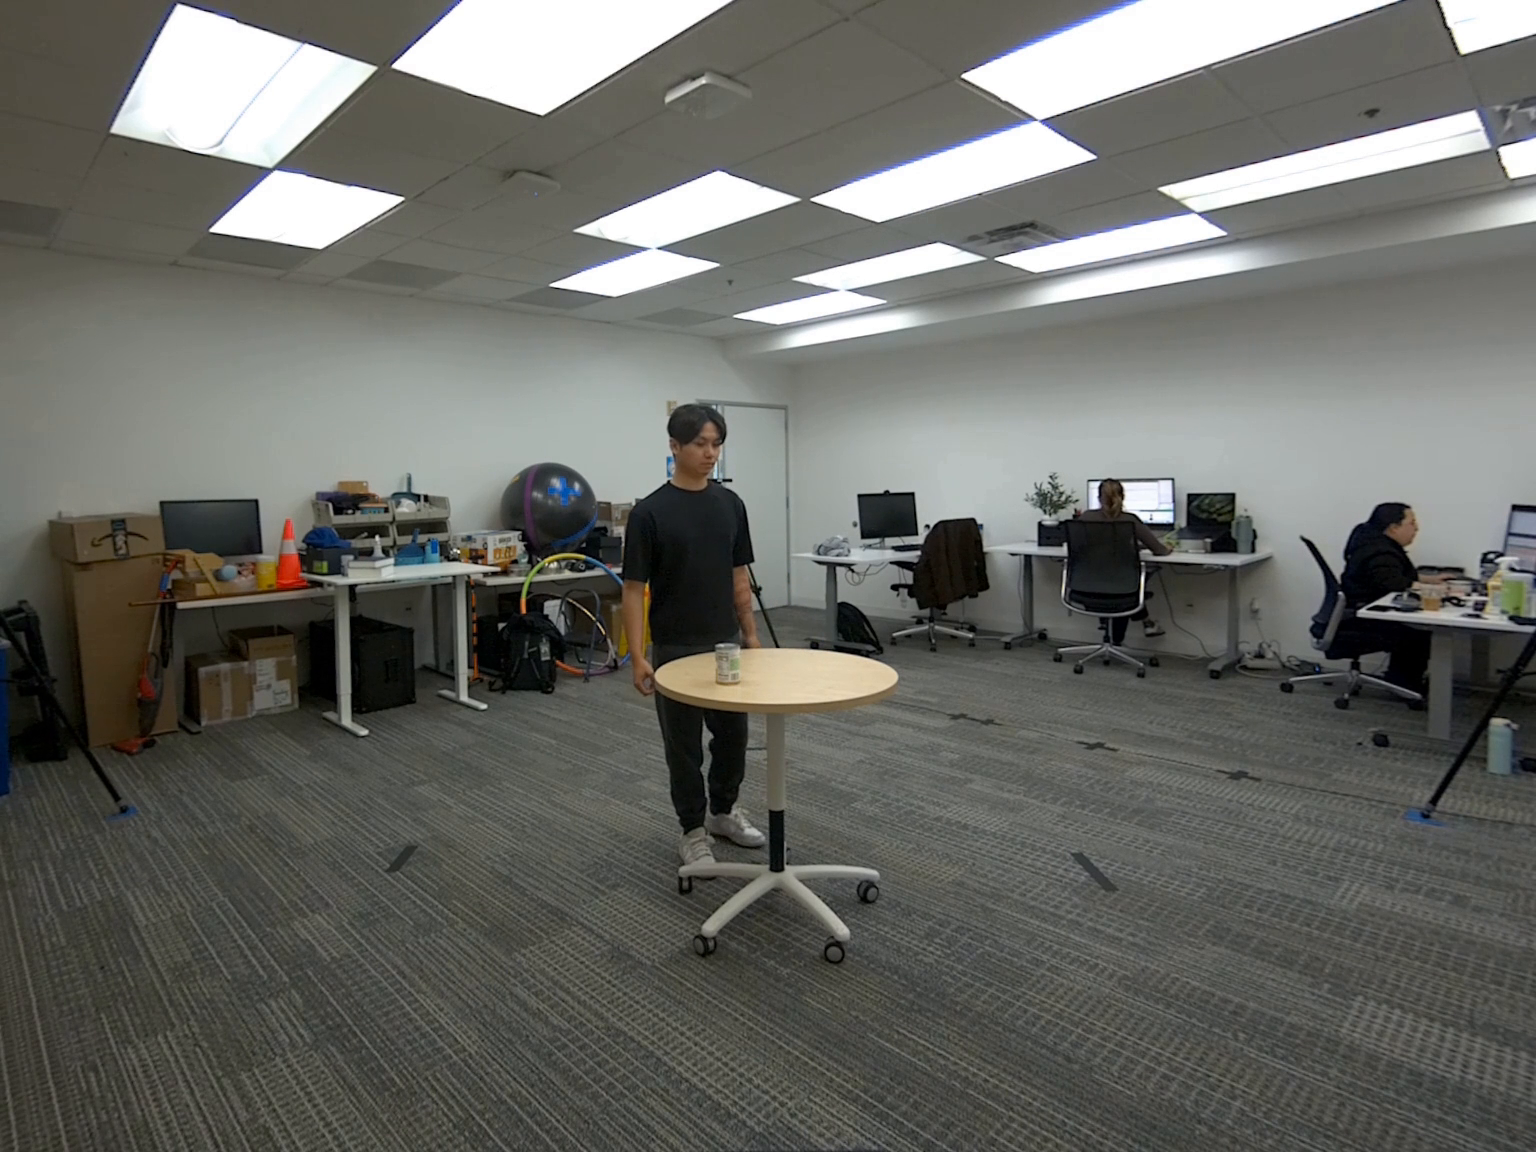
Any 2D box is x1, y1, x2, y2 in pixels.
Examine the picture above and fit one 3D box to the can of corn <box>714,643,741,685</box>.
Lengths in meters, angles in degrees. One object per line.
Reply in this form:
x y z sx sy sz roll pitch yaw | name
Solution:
-0.118 0.270 2.574 0.074 0.110 0.074 -4 5 -1 | can of corn
